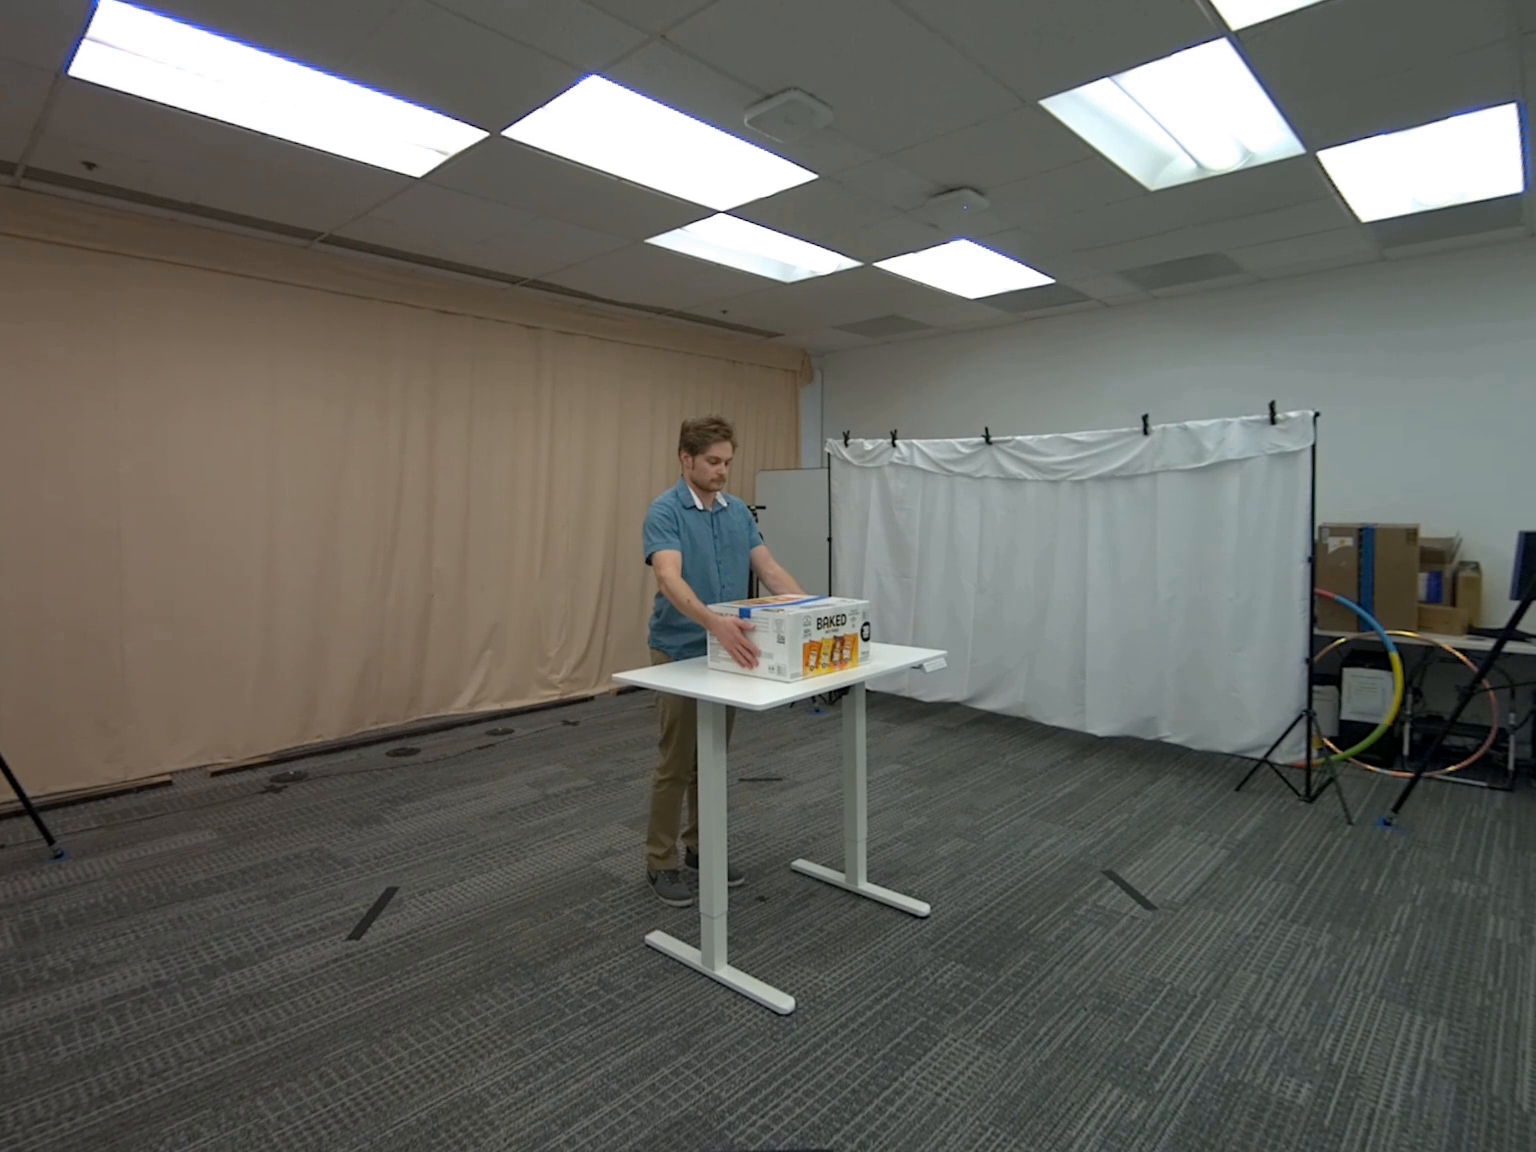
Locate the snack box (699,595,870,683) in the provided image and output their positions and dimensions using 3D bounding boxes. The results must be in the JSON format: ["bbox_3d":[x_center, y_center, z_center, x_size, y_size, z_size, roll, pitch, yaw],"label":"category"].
[{"bbox_3d":[0.073,0.187,2.664,0.351,0.205,0.393,2,5,43],"label":"snack box"}]
